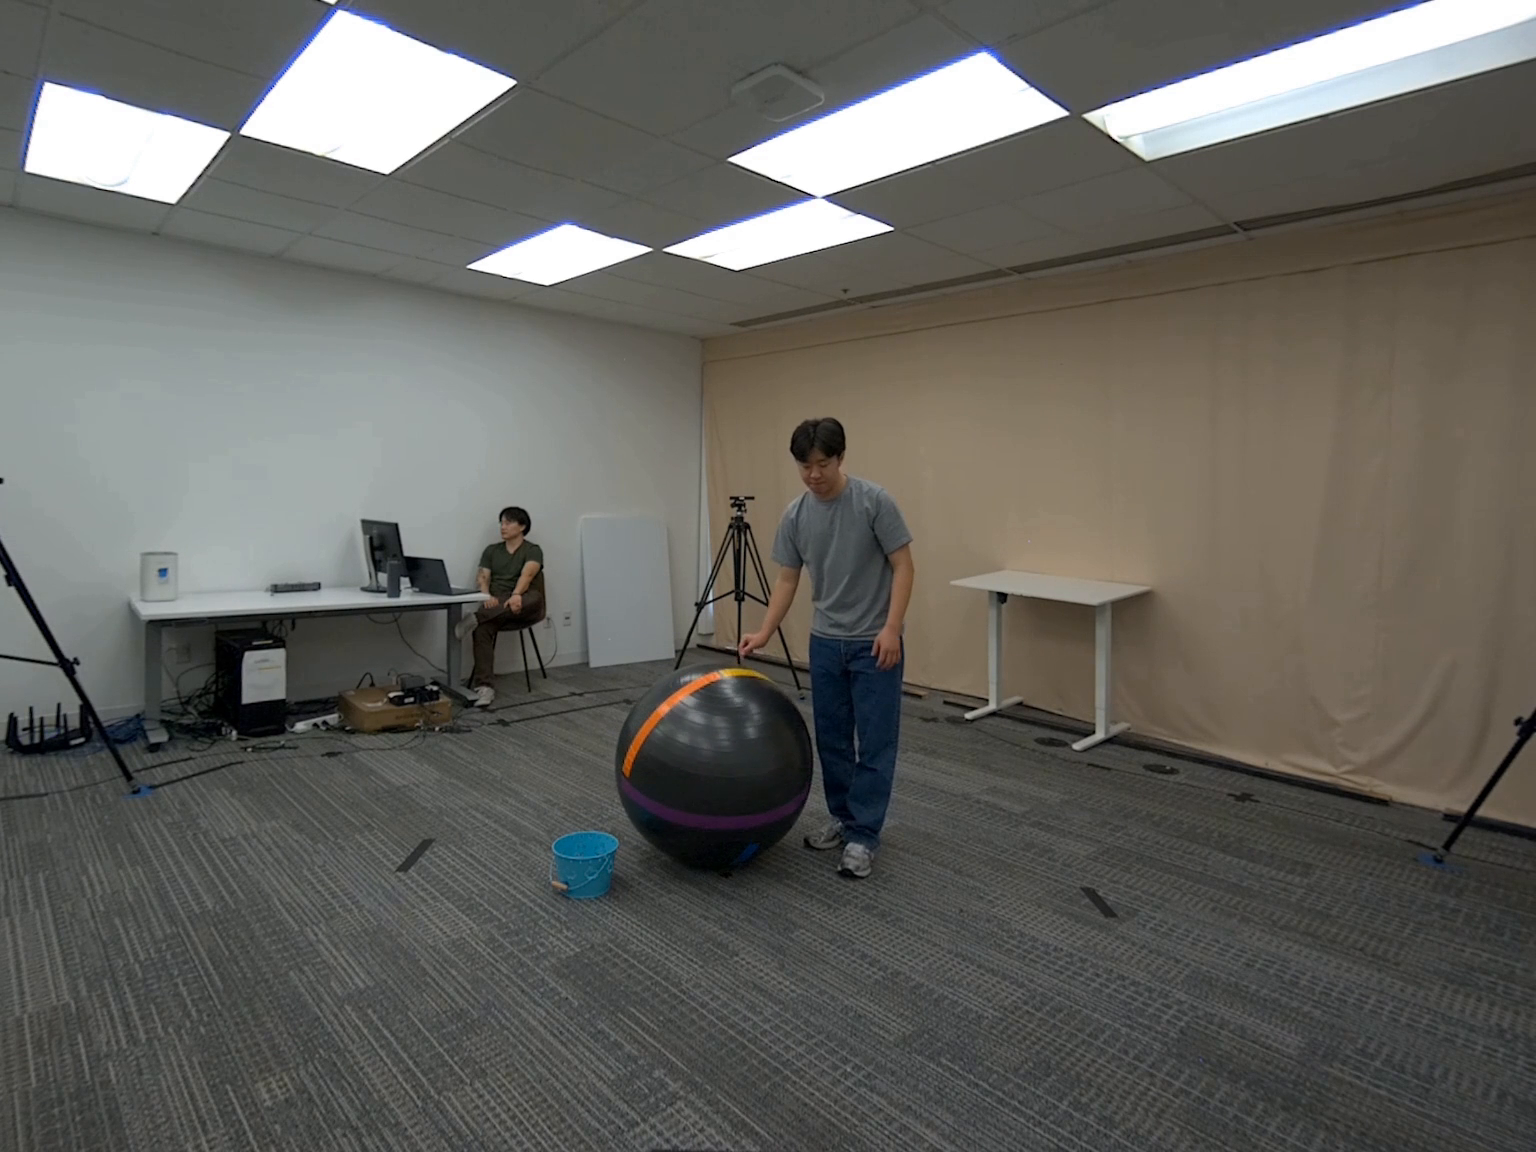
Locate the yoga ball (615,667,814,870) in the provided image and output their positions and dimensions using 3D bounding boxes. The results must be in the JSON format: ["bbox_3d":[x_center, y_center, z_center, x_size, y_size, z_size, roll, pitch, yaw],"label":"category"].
[{"bbox_3d":[-0.227,0.718,3.232,0.757,0.756,0.761,1,4,-1],"label":"yoga ball"}]
